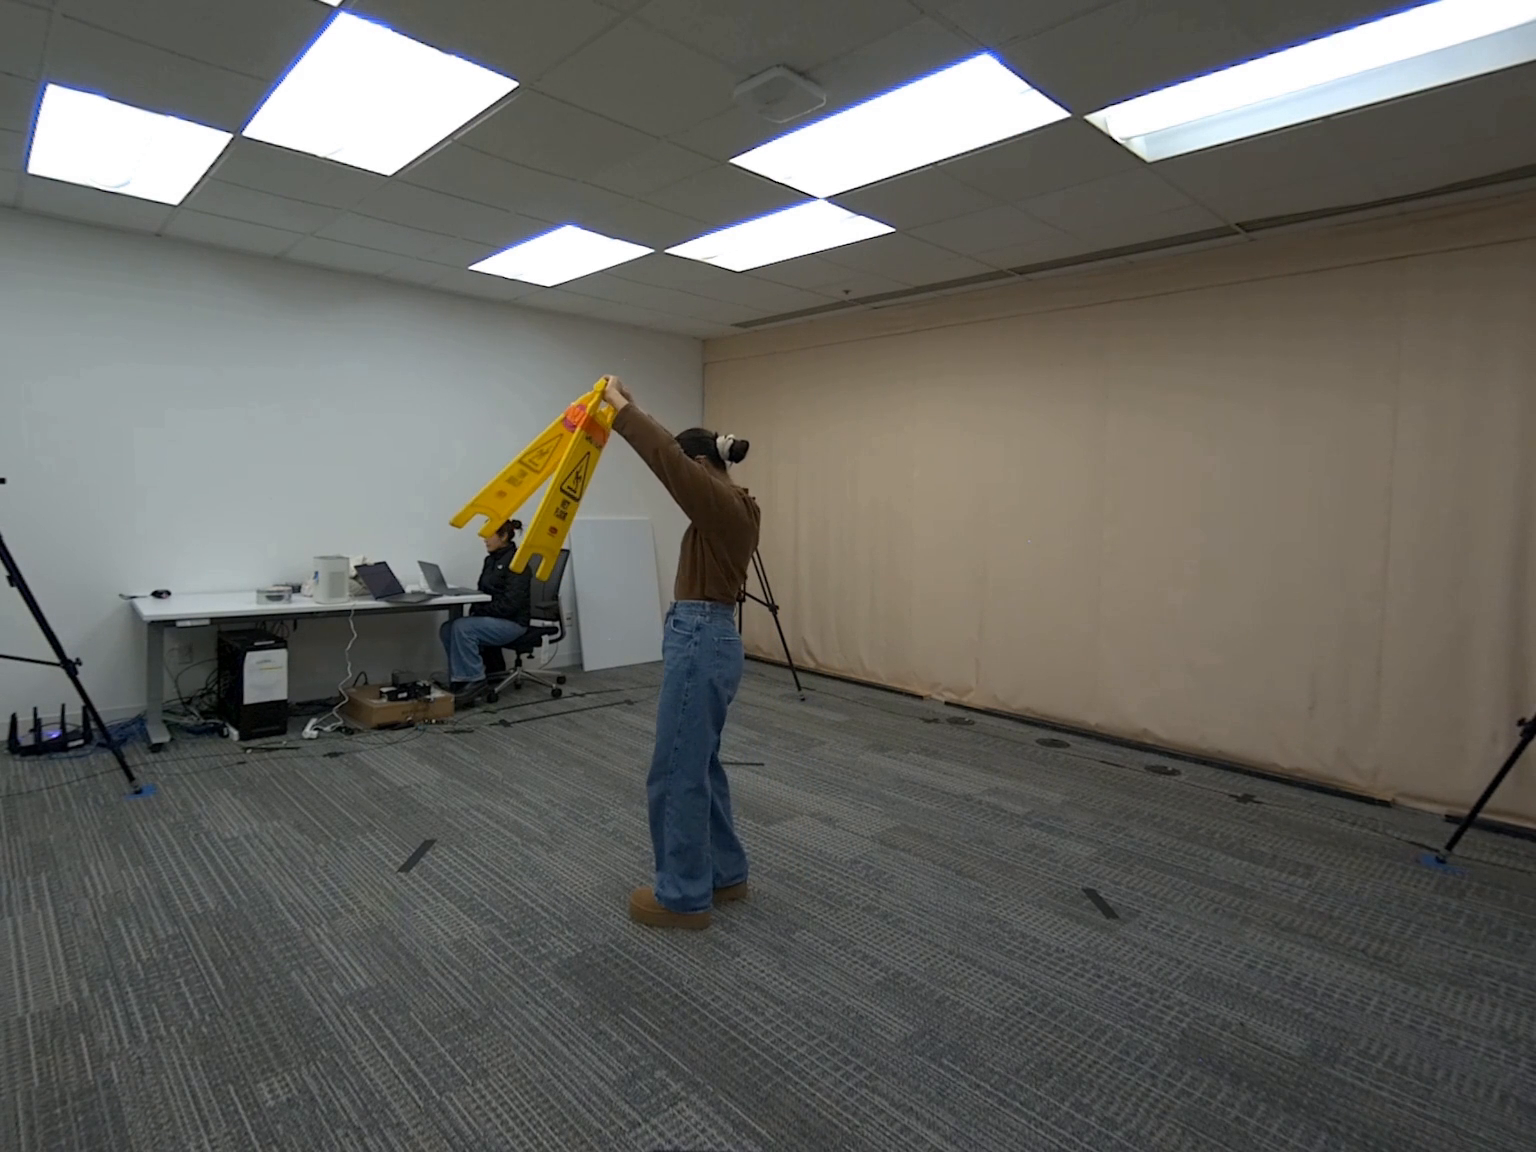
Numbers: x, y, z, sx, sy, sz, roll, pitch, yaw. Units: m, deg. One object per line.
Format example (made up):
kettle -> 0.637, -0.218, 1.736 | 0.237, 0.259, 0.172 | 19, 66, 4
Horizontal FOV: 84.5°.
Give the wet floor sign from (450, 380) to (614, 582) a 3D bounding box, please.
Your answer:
wet floor sign -> -0.686, -0.339, 2.704 | 0.293, 0.646, 0.279 | 32, -5, 10
